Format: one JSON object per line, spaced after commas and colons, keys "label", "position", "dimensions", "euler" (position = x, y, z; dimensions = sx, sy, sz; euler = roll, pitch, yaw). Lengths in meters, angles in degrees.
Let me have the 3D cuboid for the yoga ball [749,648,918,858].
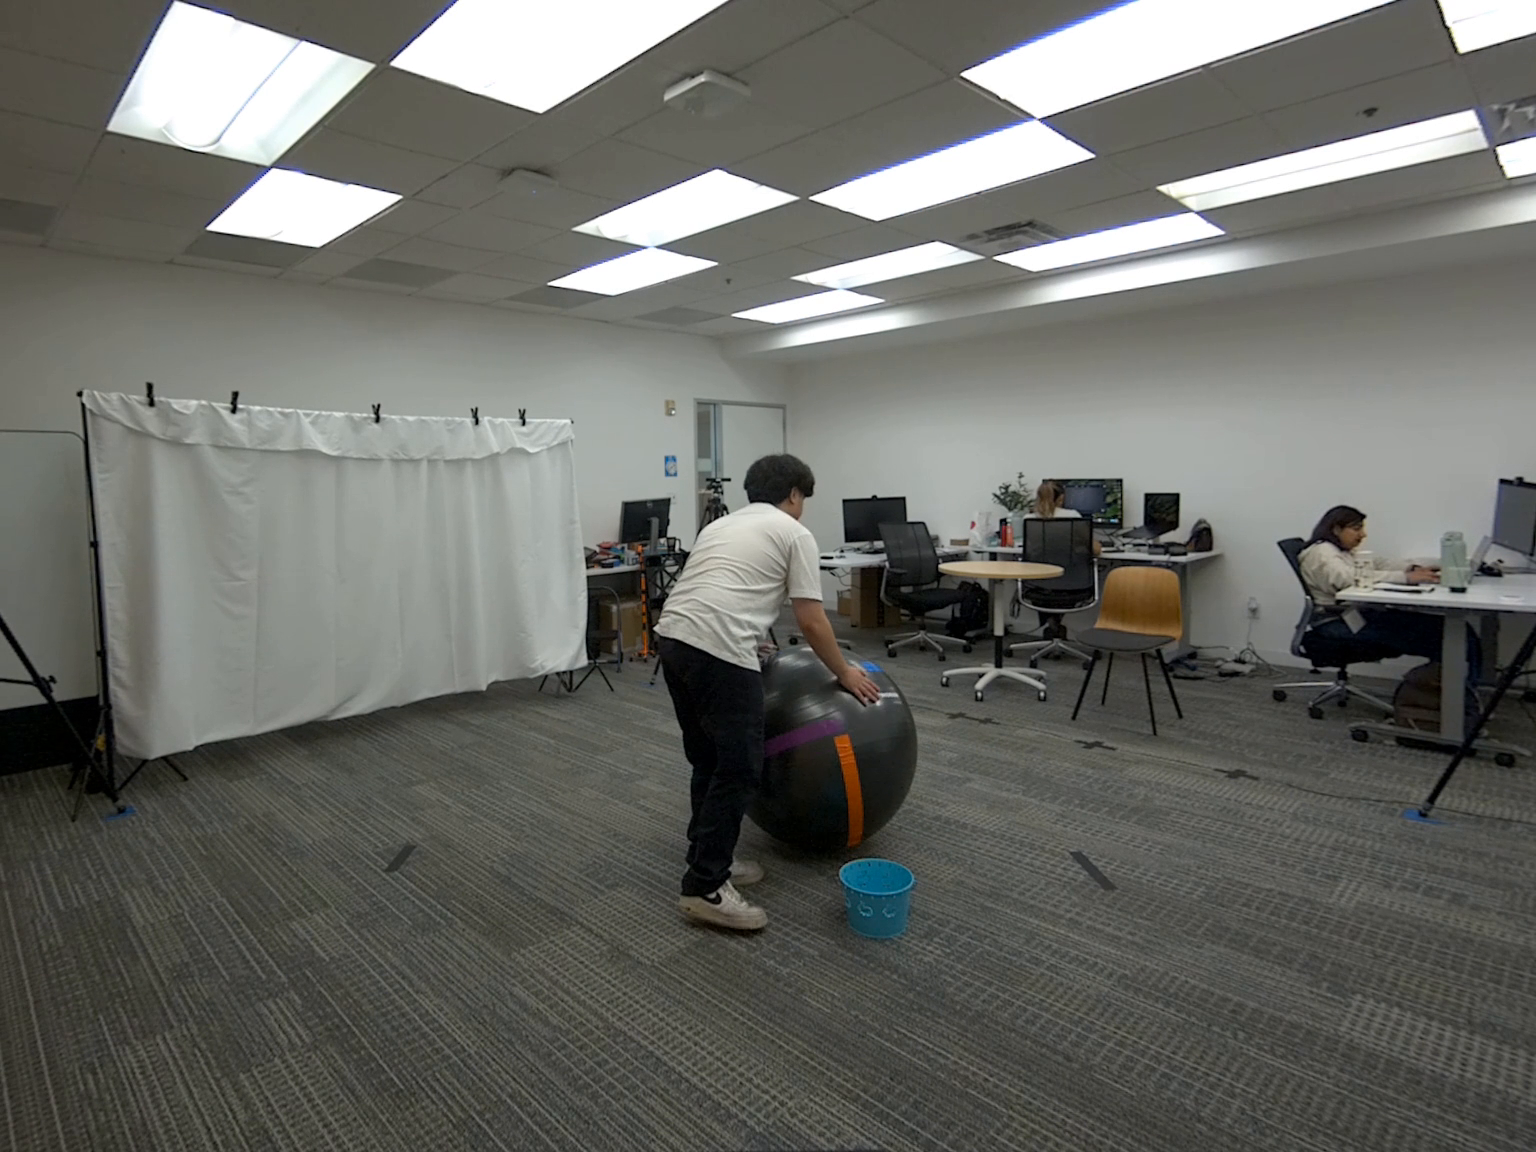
{"label": "yoga ball", "position": [0.193, 0.651, 3.279], "dimensions": [0.757, 0.755, 0.762], "euler": [-1, 5, -2]}
